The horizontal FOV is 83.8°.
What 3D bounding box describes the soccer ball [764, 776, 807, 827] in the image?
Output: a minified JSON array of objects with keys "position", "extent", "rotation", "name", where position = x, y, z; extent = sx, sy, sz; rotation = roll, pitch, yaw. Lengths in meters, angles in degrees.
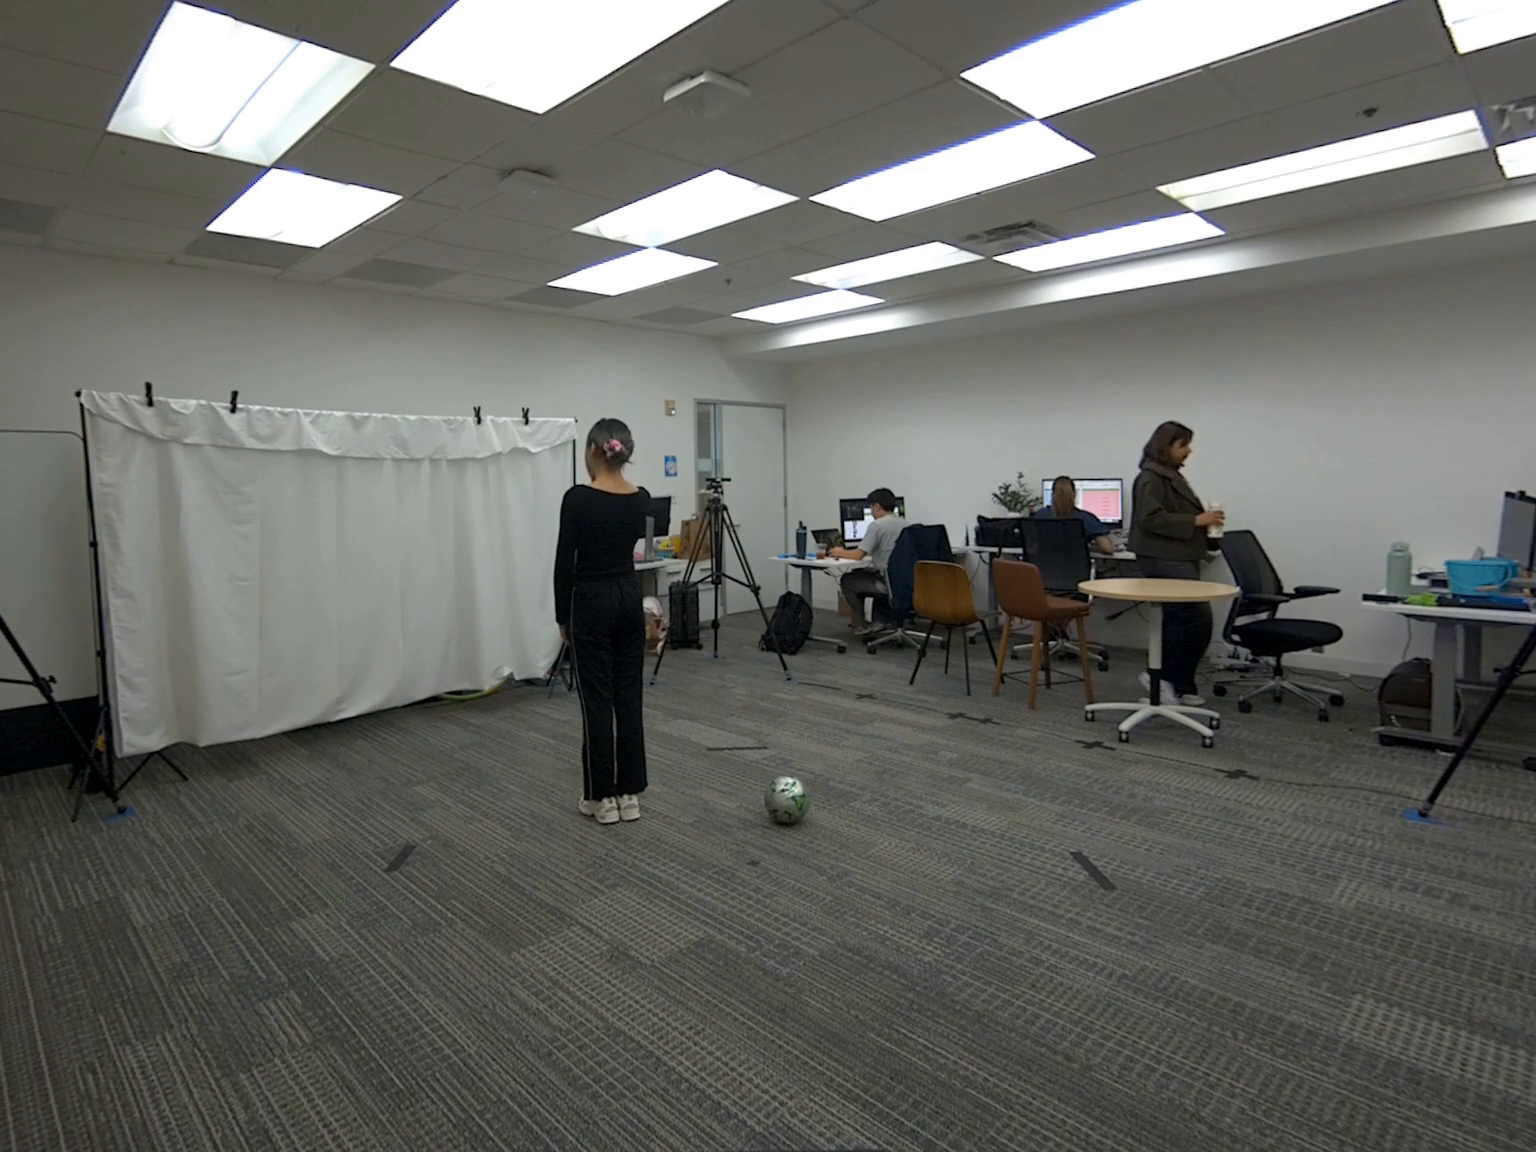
[{"position":[0.077,0.904,3.470],"extent":[0.187,0.187,0.188],"rotation":[-1,5,-2],"name":"soccer ball"}]
